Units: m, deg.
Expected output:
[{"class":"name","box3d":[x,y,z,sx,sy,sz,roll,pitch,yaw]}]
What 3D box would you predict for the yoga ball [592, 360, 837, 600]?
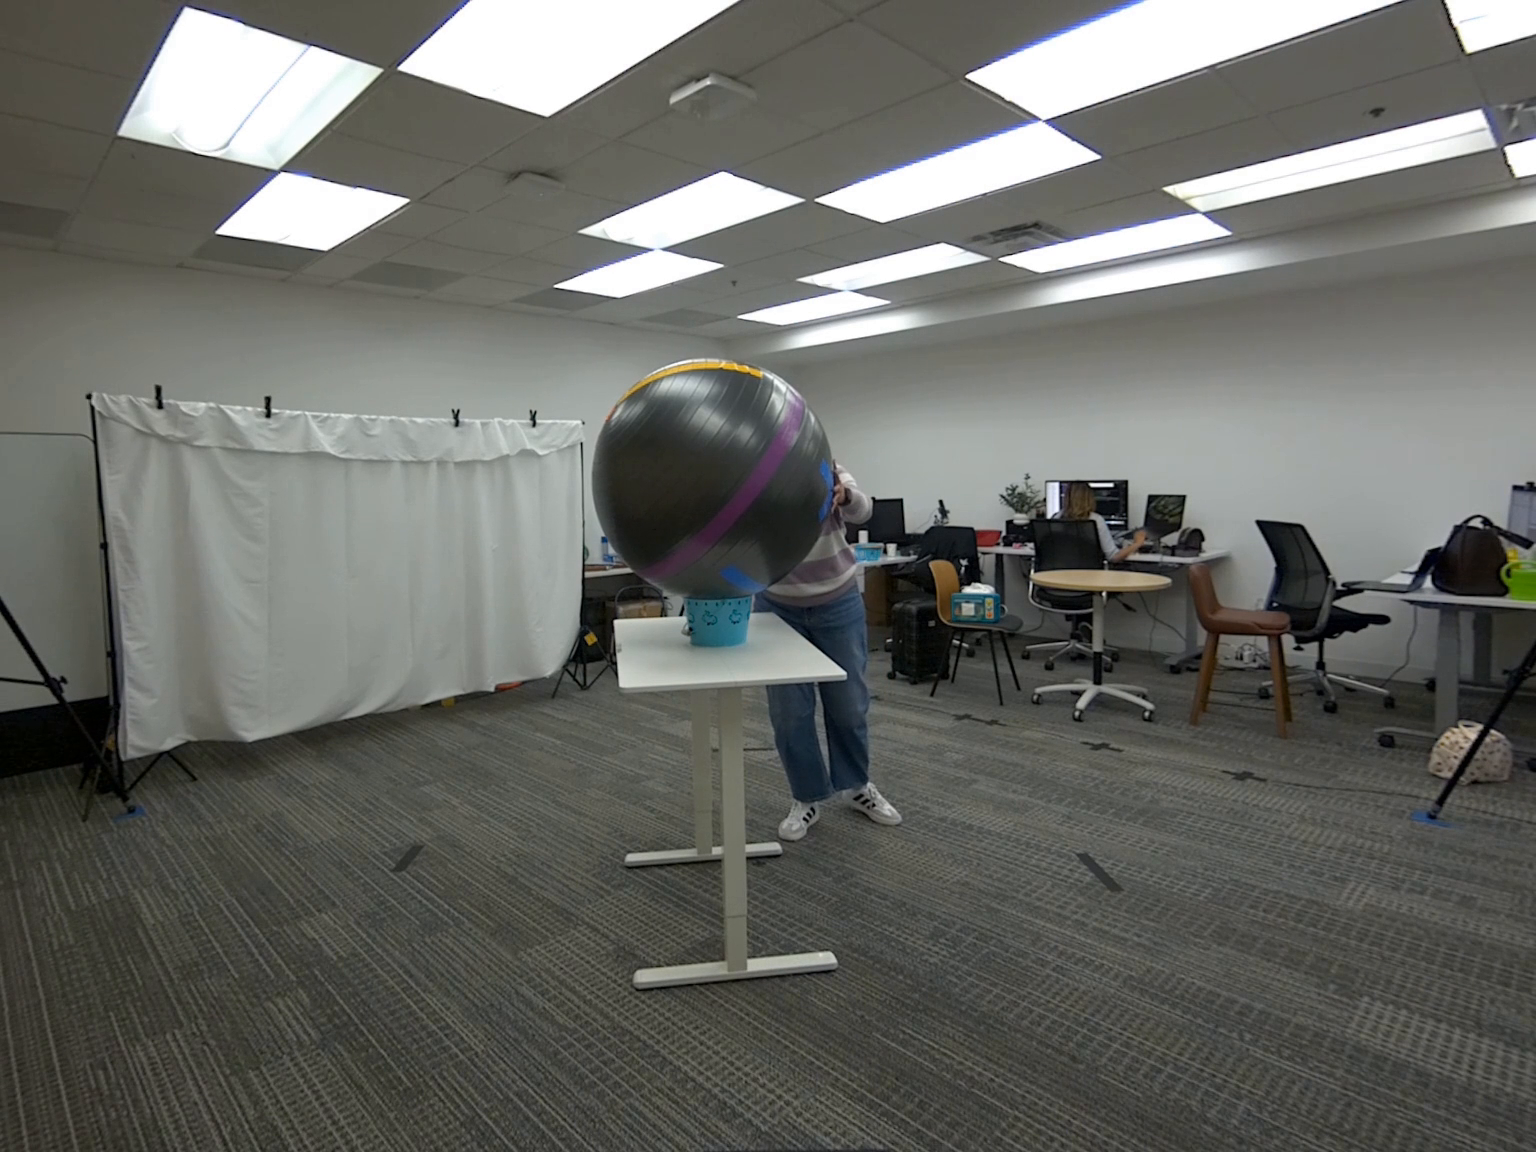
[{"class":"yoga ball","box3d":[-0.183,-0.301,2.685,0.757,0.755,0.762,-1,5,-2]}]
